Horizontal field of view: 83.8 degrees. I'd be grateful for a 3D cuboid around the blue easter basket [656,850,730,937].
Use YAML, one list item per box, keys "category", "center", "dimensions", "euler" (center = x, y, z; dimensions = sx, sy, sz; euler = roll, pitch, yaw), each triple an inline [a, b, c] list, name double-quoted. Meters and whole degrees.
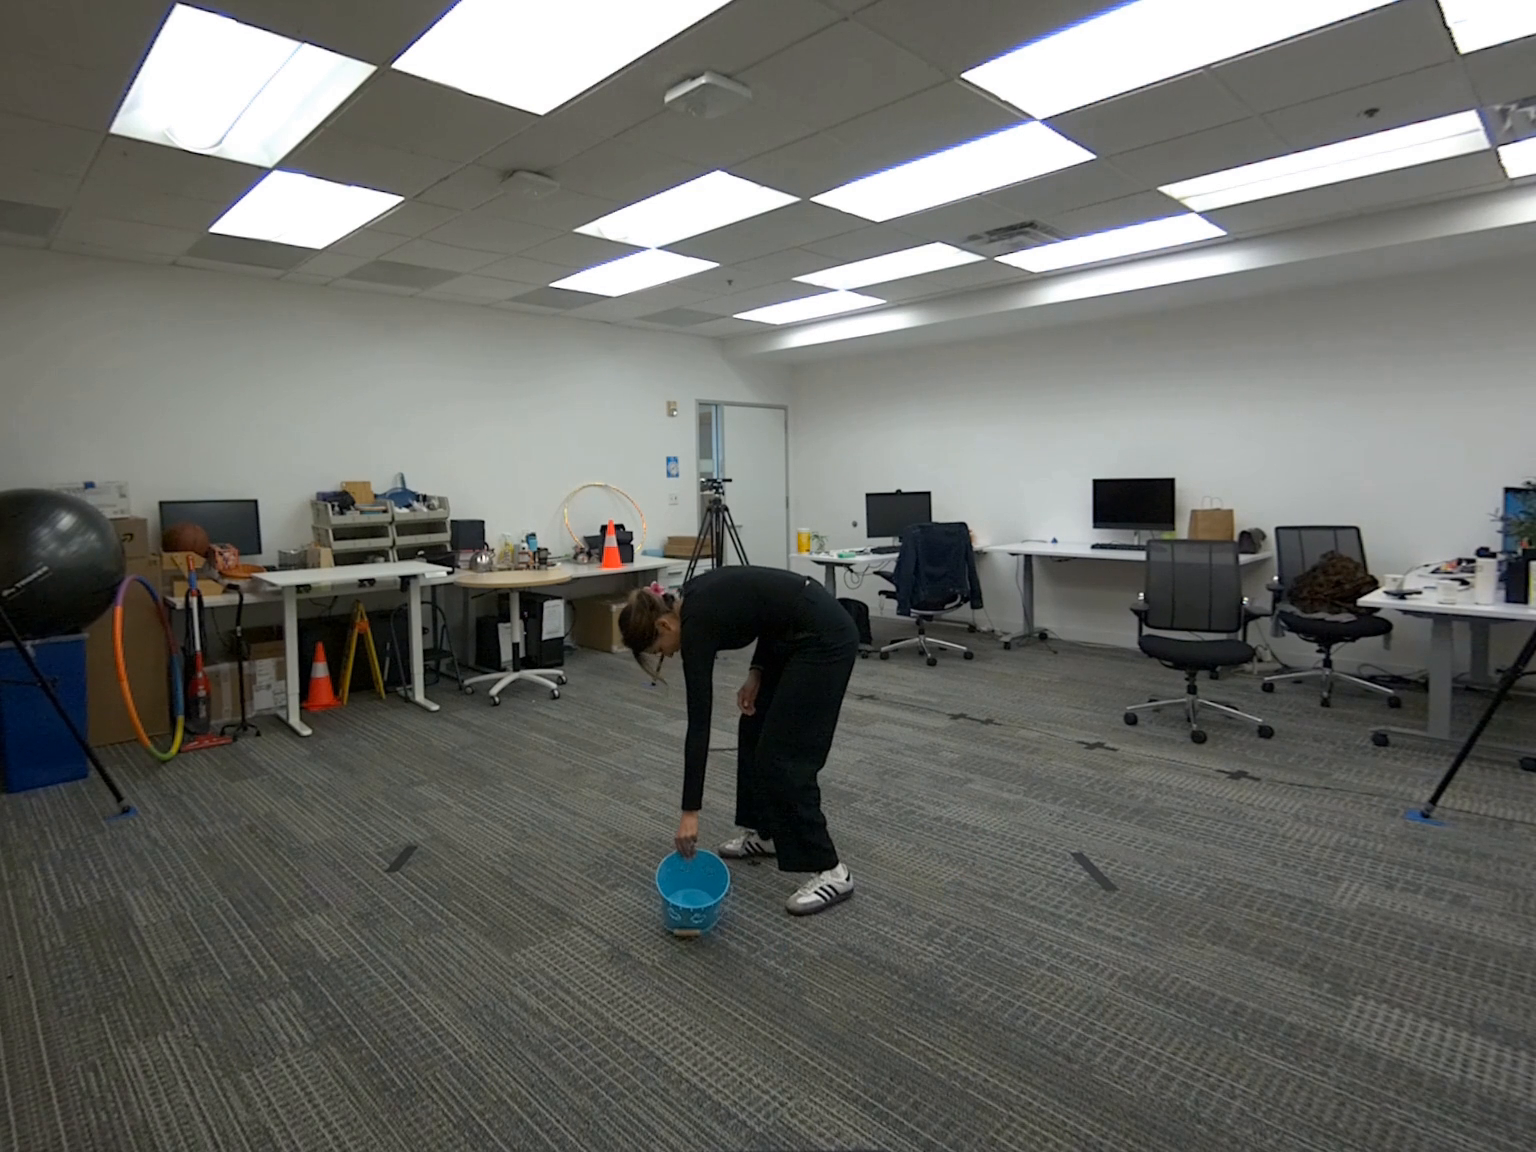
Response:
- category: "blue easter basket"
  center: [-0.240, 0.998, 2.657]
  dimensions: [0.243, 0.153, 0.248]
  euler: [3, 23, -3]
